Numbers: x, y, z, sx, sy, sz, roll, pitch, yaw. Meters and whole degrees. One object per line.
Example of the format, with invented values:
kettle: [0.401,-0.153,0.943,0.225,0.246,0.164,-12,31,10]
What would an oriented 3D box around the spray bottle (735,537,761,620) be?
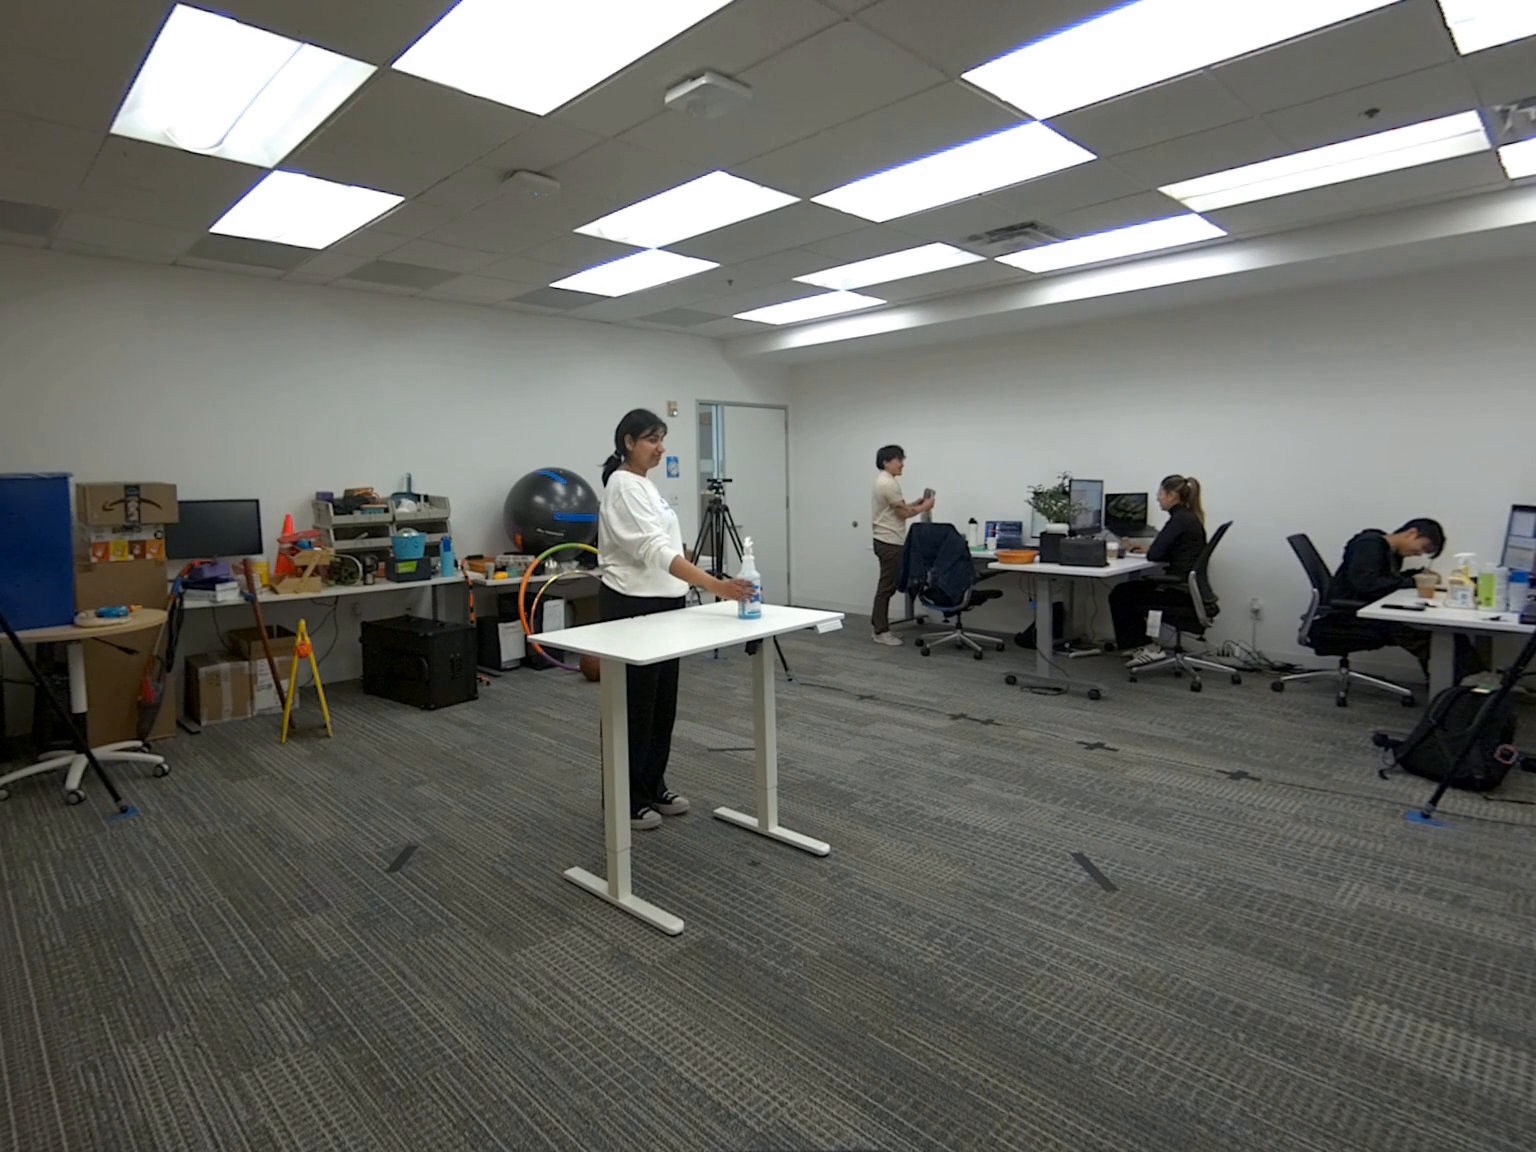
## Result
spray bottle: [-0.072,0.009,3.164,0.089,0.296,0.088,0,3,30]
